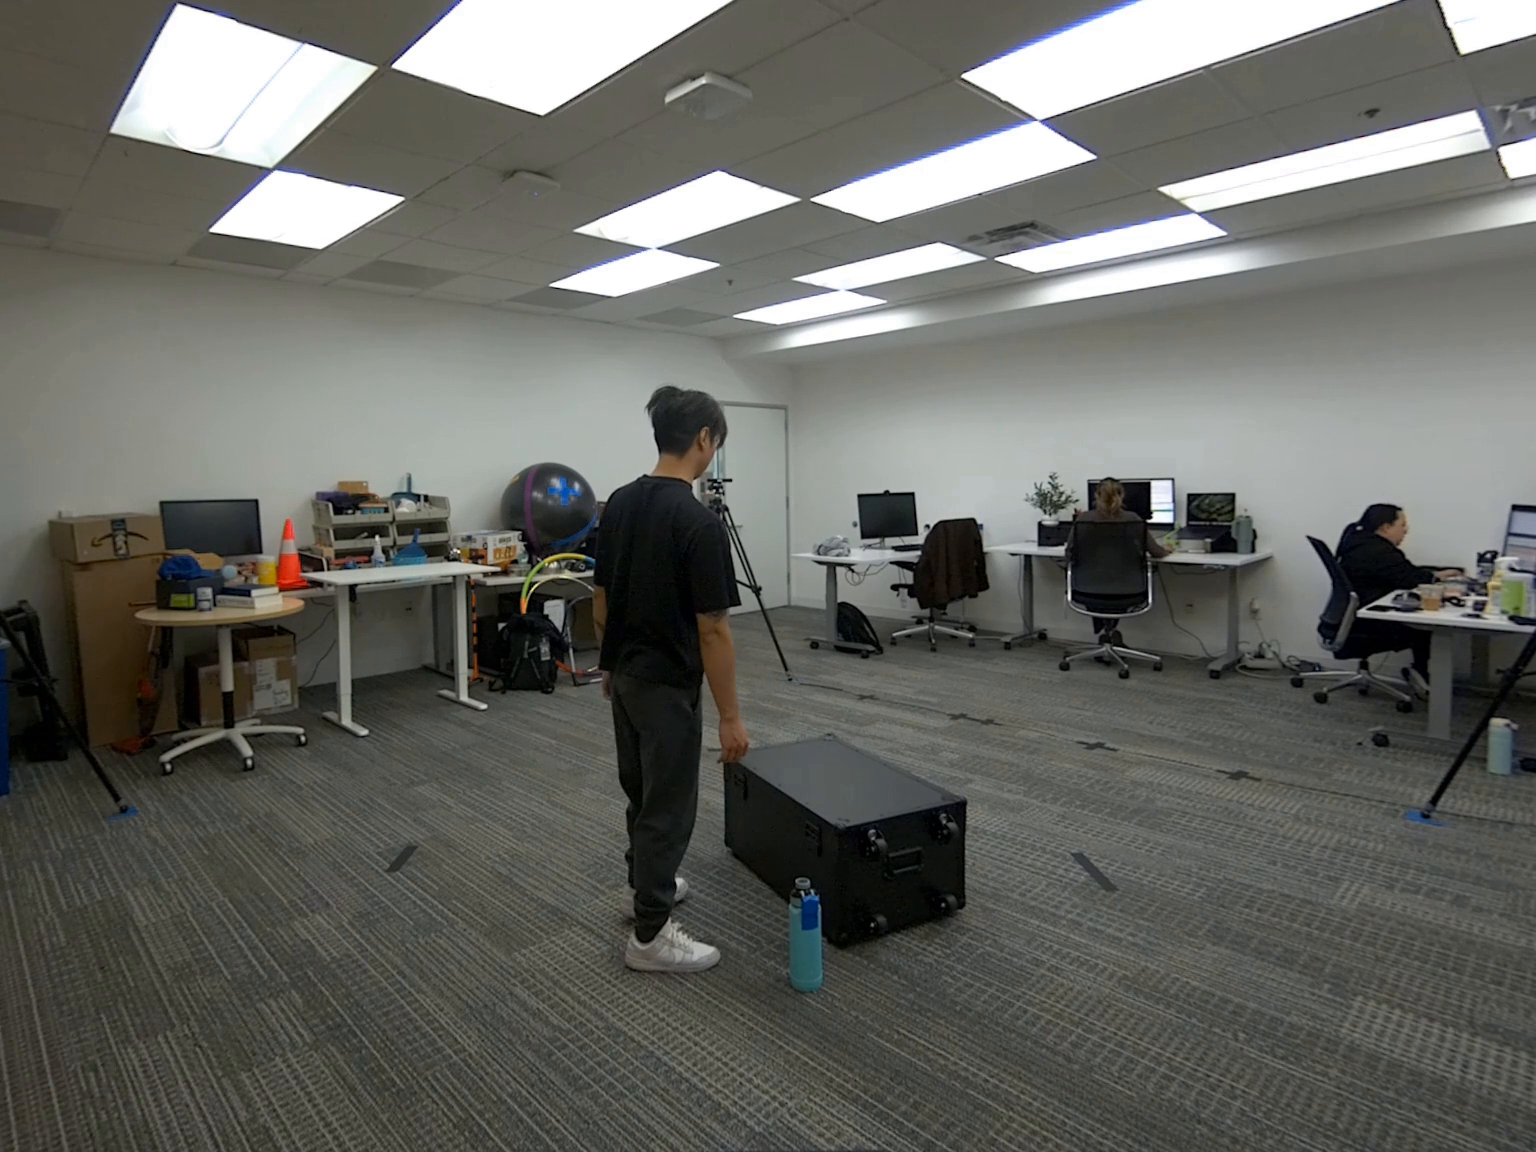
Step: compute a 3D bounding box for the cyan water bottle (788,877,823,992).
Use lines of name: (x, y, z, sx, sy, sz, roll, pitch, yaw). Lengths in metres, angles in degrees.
cyan water bottle: (0.096, 0.983, 2.360, 0.092, 0.282, 0.093, 0, 6, -2)
